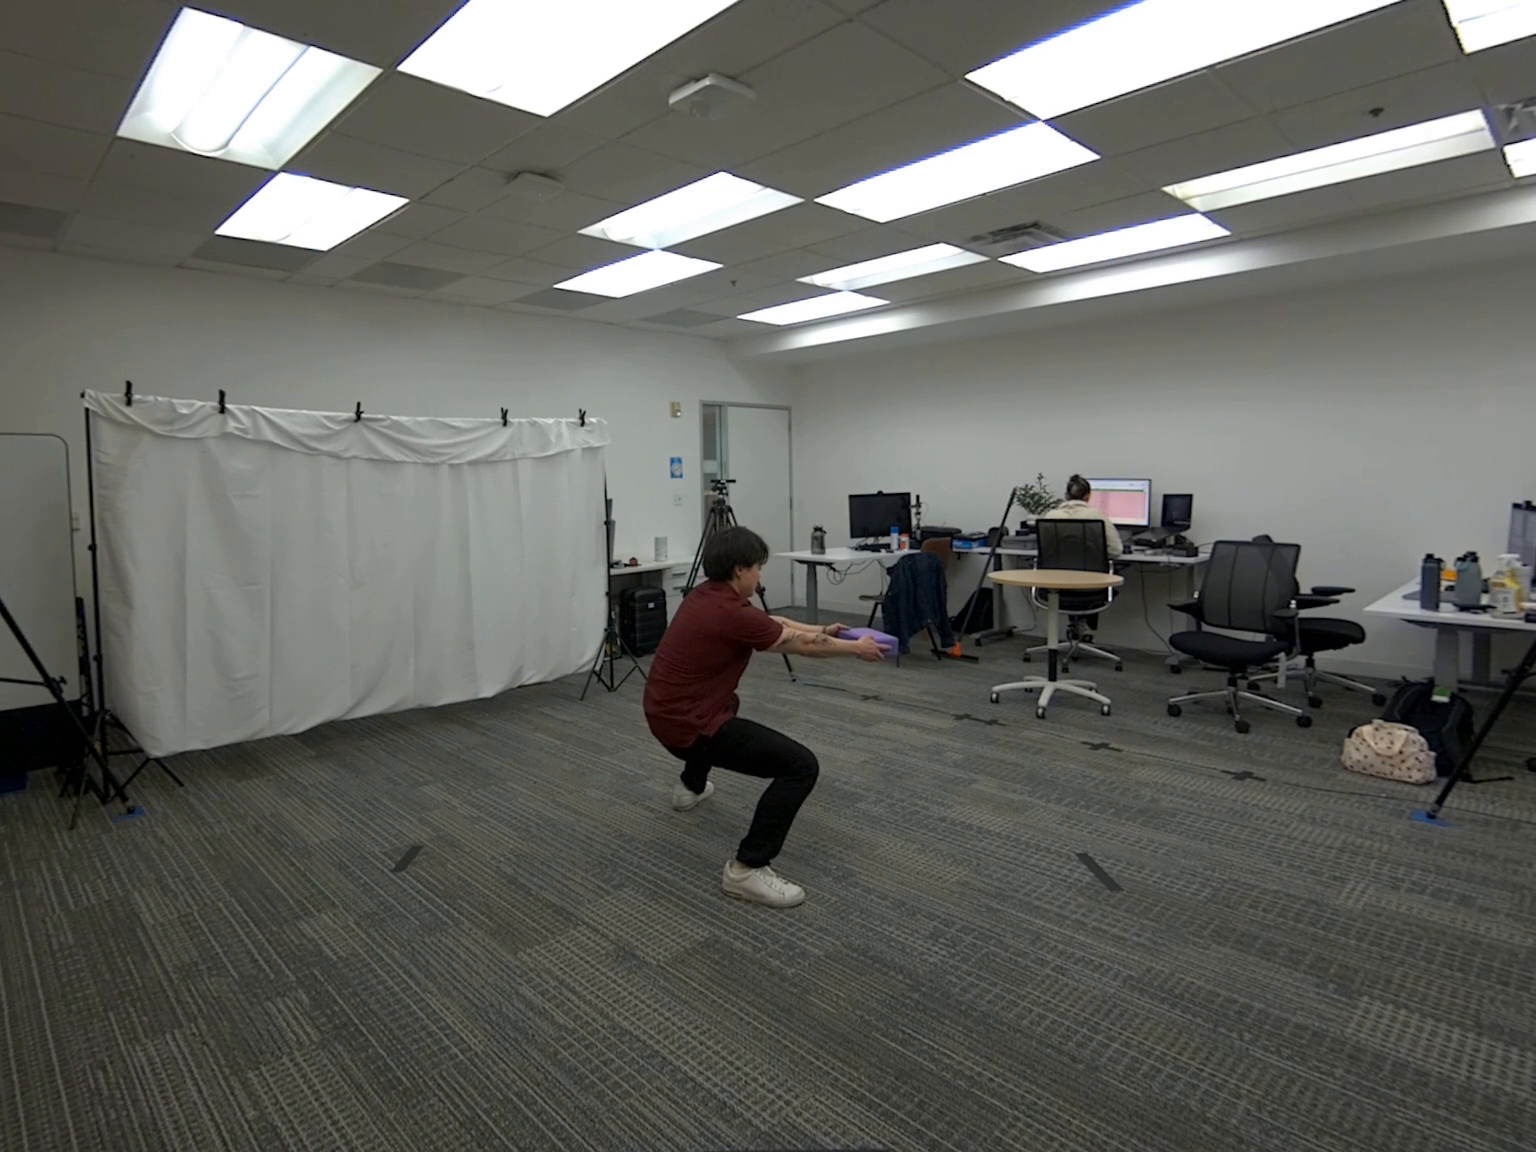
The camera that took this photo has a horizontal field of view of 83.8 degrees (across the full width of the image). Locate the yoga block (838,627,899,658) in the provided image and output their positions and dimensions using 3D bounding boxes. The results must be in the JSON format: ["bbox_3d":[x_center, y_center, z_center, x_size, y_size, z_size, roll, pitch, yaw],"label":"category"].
[{"bbox_3d":[0.403,0.255,3.453,0.146,0.076,0.235,-2,7,-26],"label":"yoga block"}]
